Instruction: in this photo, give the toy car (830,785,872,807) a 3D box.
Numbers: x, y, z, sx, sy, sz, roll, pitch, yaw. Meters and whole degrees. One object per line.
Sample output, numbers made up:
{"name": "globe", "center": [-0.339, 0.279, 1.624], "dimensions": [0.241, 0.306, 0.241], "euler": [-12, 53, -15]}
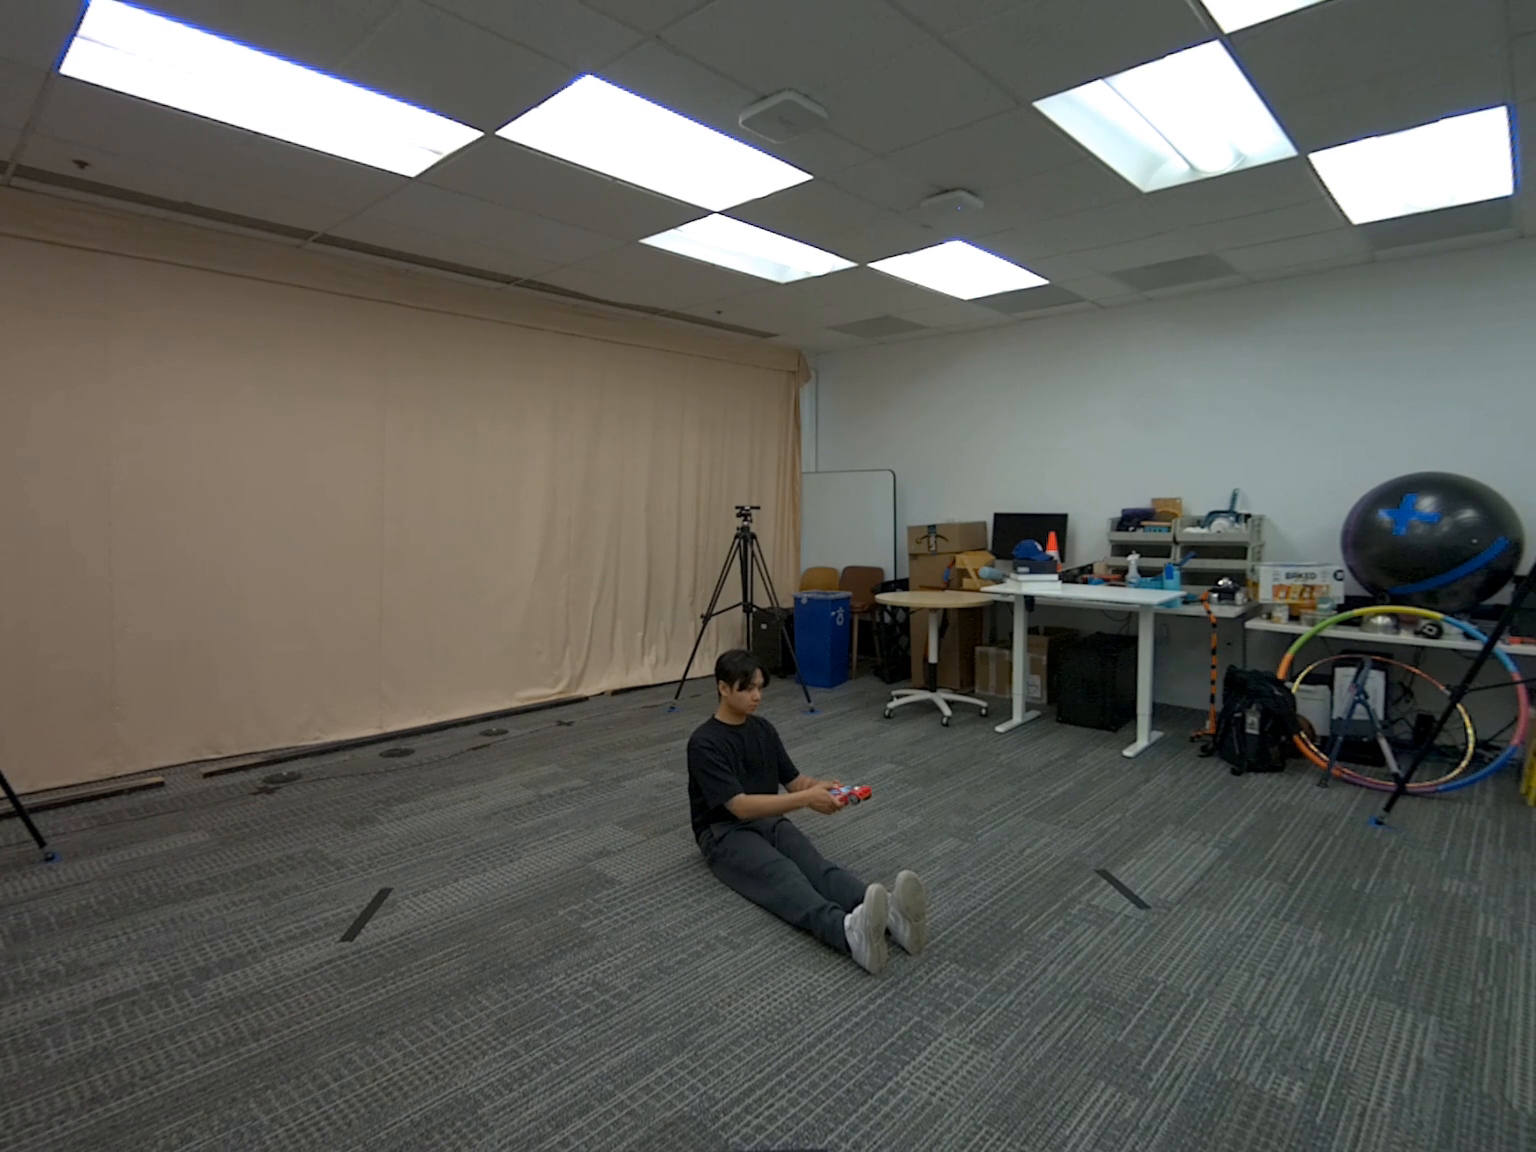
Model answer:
{"name": "toy car", "center": [0.253, 0.826, 3.125], "dimensions": [0.261, 0.083, 0.126], "euler": [-10, -6, 35]}
